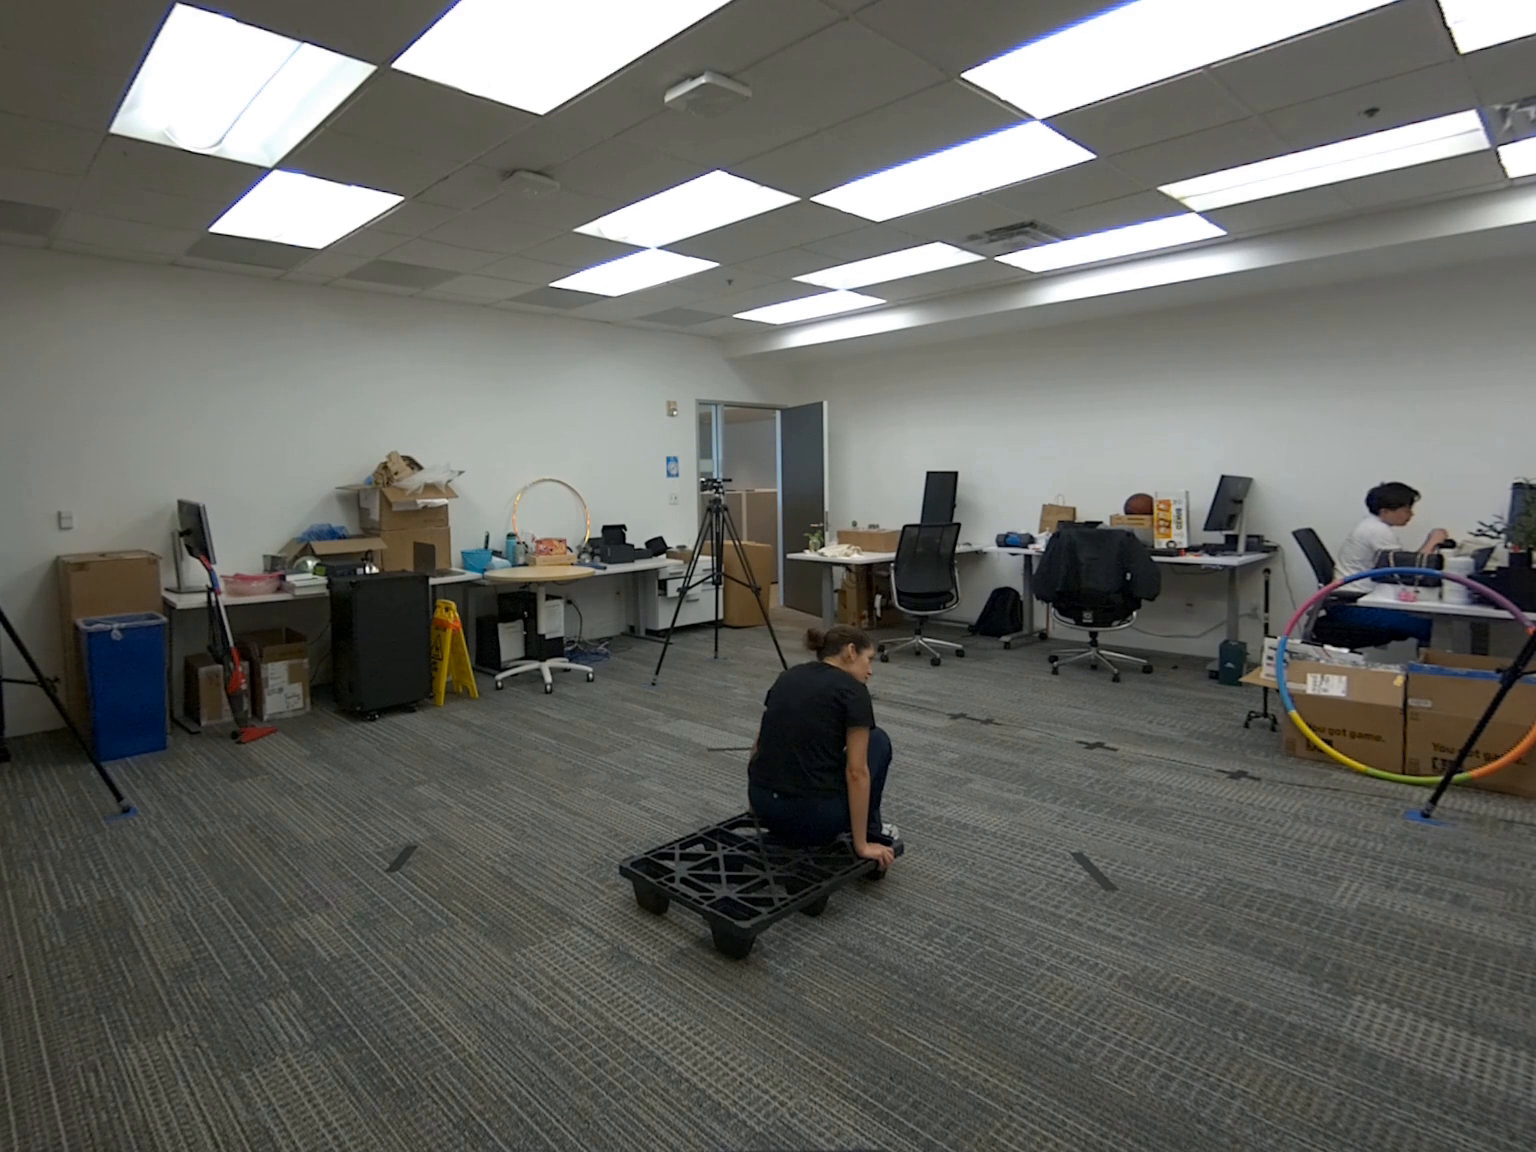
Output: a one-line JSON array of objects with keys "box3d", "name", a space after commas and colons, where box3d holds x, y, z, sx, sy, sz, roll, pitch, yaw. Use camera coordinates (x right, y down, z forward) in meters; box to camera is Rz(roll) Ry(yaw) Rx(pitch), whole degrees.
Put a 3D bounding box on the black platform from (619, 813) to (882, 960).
[{"box3d": [-0.010, 1.004, 2.901, 0.624, 0.142, 0.784, 6, 9, 44], "name": "black platform"}]
